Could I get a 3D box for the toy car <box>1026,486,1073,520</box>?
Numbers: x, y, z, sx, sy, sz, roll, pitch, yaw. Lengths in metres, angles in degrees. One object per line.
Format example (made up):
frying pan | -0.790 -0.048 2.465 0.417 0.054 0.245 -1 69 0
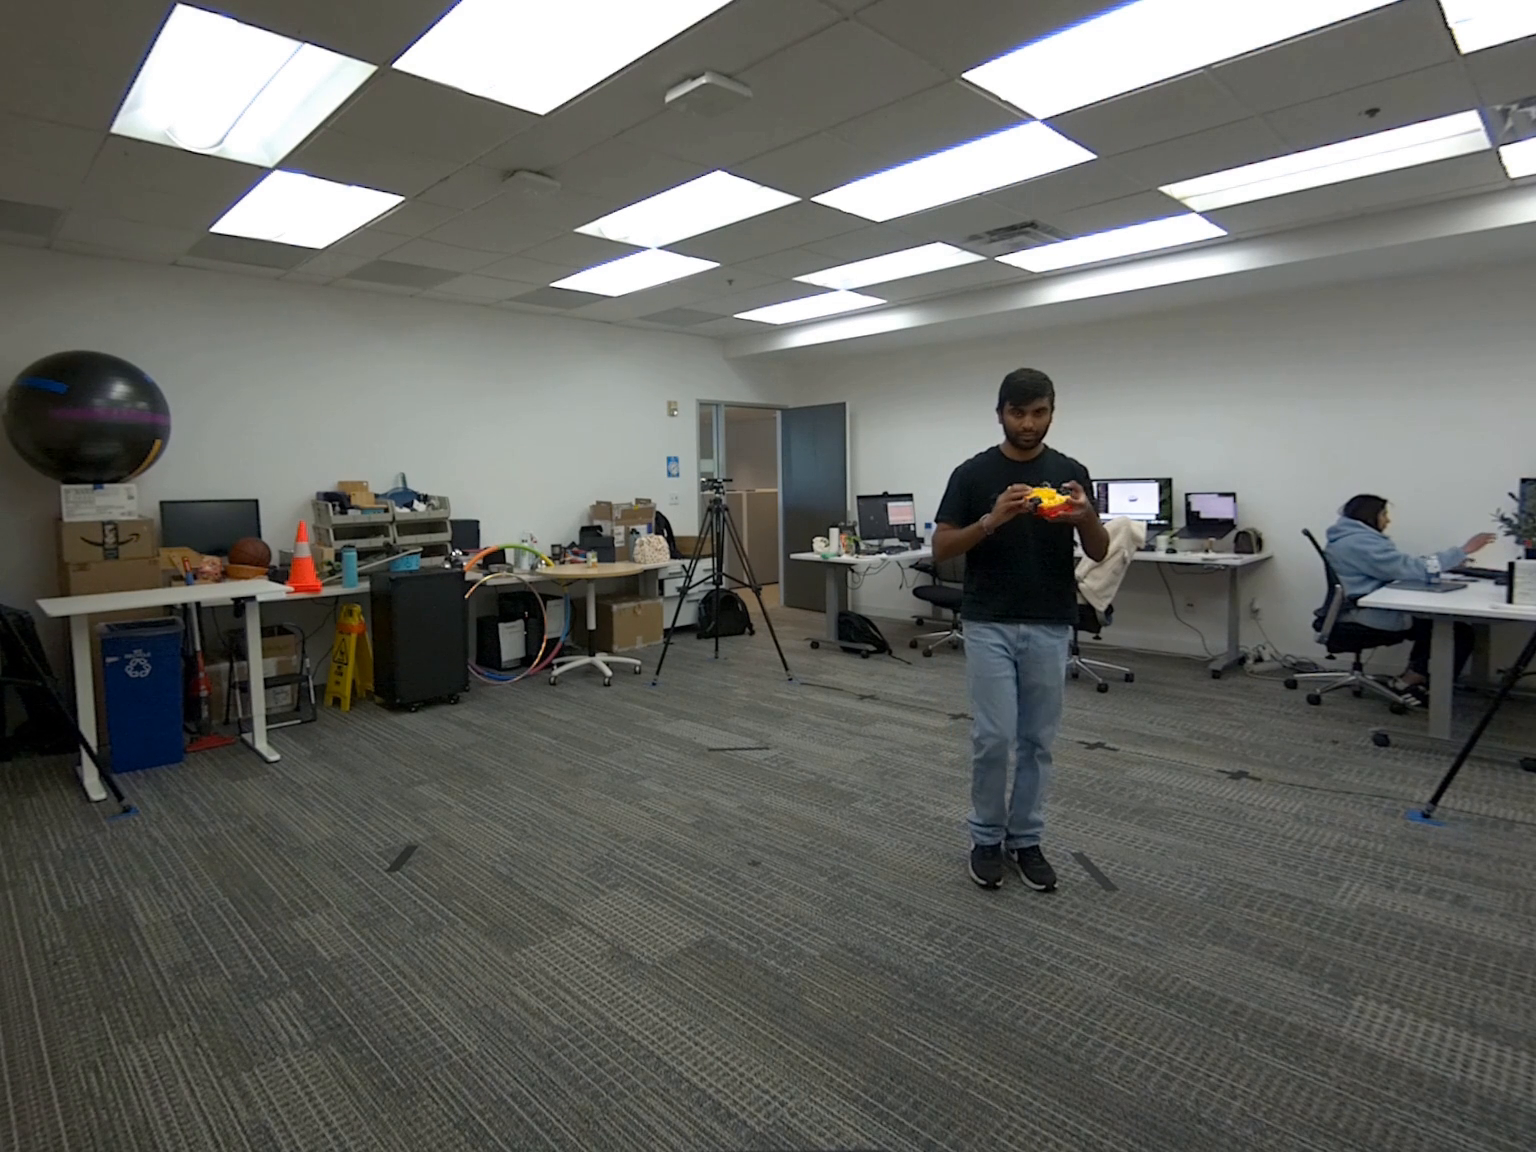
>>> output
toy car | 0.858 -0.231 2.620 0.130 0.081 0.261 -17 25 -2
